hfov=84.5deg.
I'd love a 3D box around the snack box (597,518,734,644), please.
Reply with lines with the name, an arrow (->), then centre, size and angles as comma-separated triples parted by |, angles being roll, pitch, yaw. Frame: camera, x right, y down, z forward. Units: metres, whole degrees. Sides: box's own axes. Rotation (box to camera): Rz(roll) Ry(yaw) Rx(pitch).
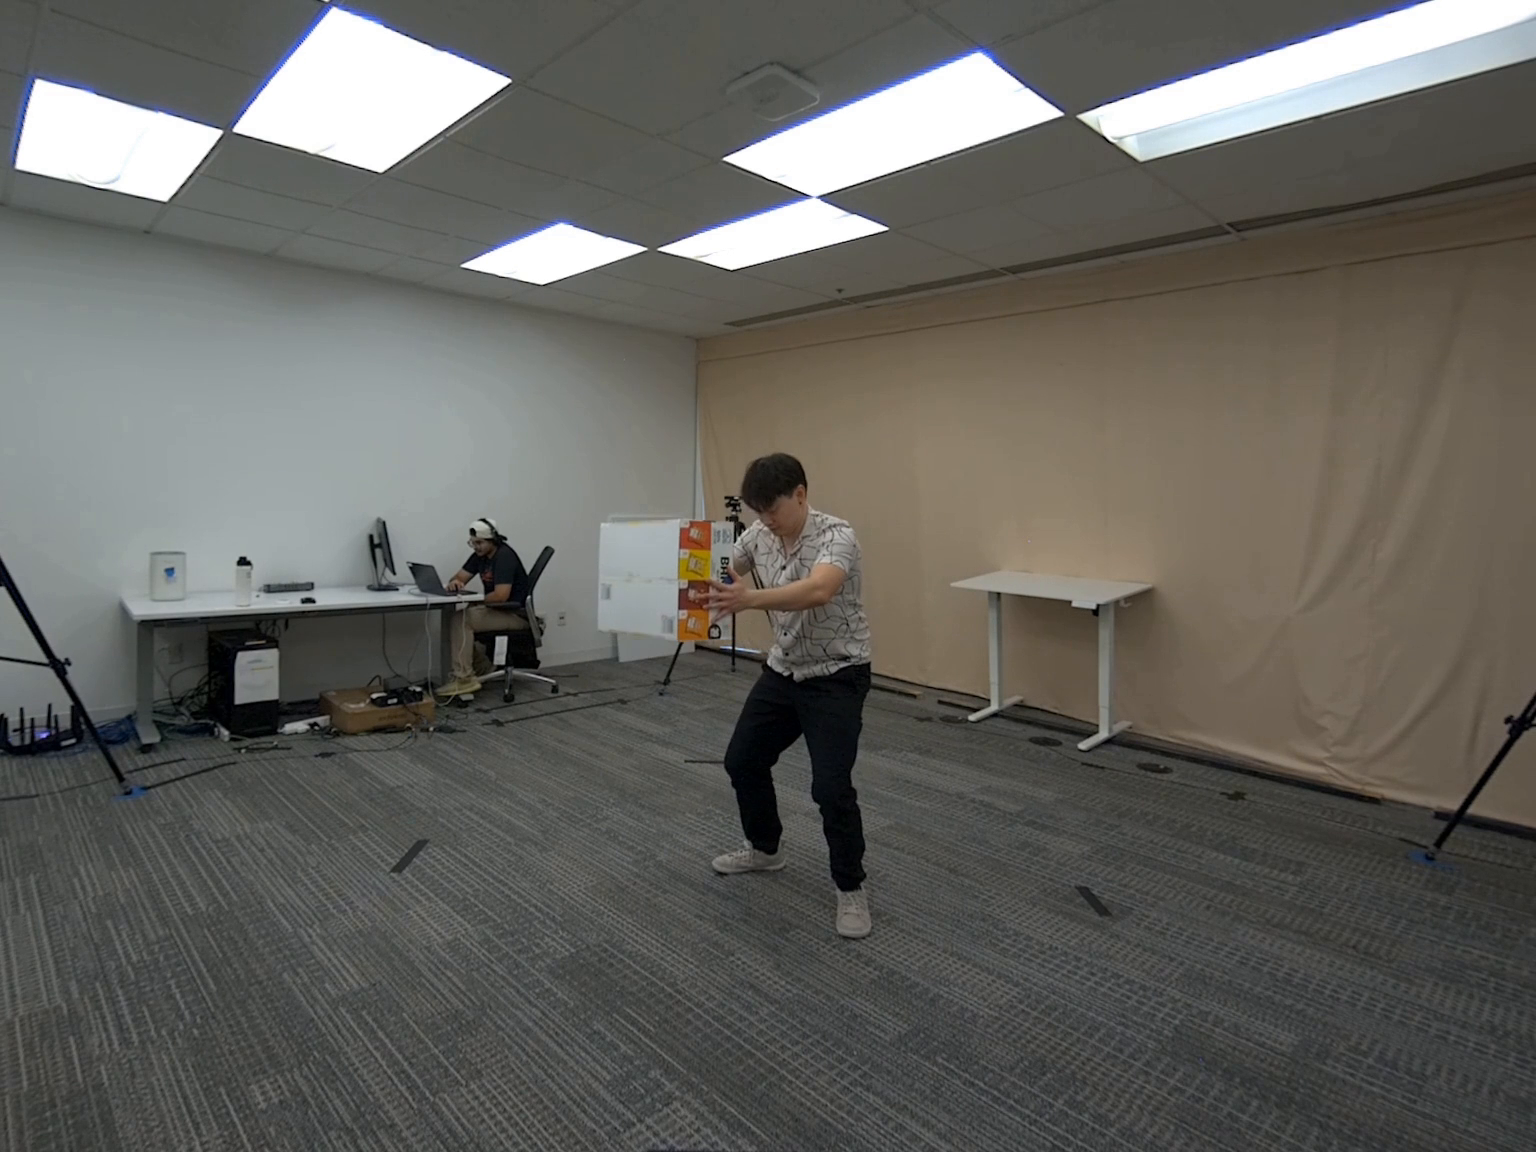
snack box -> -0.317, 0.016, 2.519 | 0.200, 0.341, 0.415 | 3, -2, -44
